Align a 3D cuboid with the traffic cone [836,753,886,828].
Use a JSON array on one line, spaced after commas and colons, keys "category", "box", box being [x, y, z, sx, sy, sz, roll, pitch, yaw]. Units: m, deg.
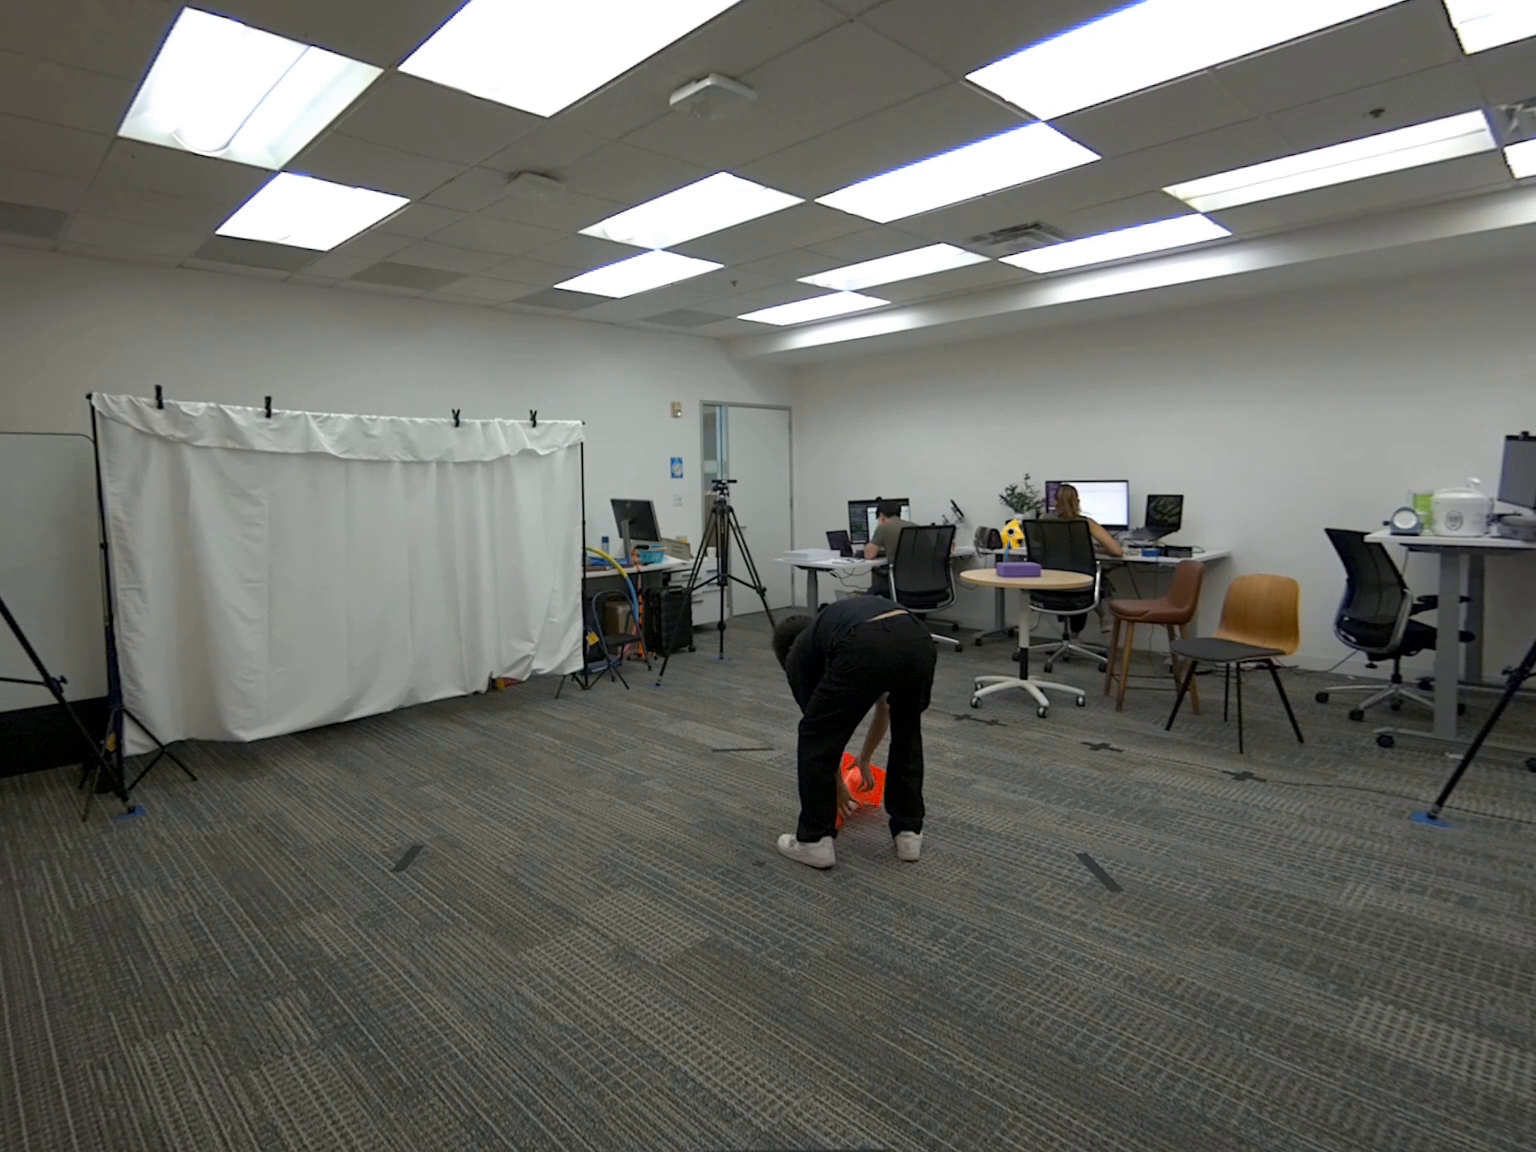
[{"category": "traffic cone", "box": [0.310, 0.943, 3.494, 0.209, 0.201, 0.380, 16, 30, 28]}]
